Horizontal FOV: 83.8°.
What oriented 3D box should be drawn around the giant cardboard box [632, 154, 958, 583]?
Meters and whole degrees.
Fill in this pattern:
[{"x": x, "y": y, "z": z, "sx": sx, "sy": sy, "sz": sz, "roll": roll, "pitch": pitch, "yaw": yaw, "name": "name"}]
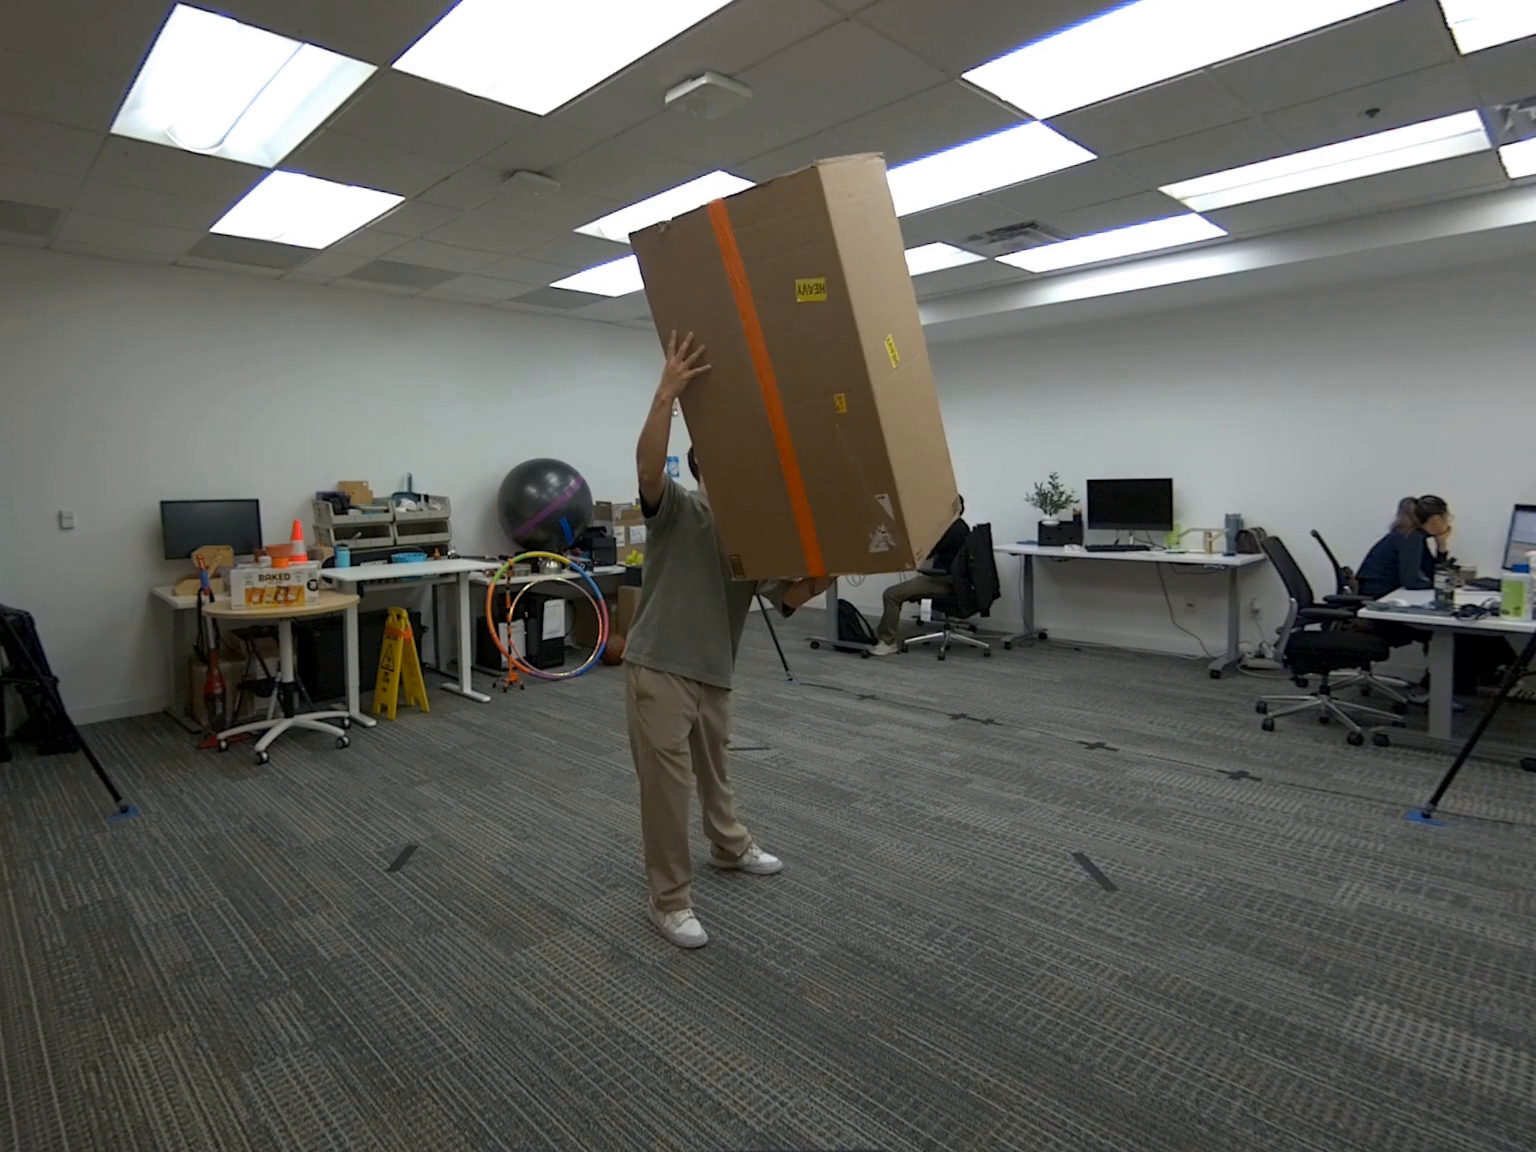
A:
[{"x": 0.100, "y": -0.540, "z": 2.385, "sx": 0.592, "sy": 1.006, "sz": 0.424, "roll": -5, "pitch": 21, "yaw": 34, "name": "giant cardboard box"}]
